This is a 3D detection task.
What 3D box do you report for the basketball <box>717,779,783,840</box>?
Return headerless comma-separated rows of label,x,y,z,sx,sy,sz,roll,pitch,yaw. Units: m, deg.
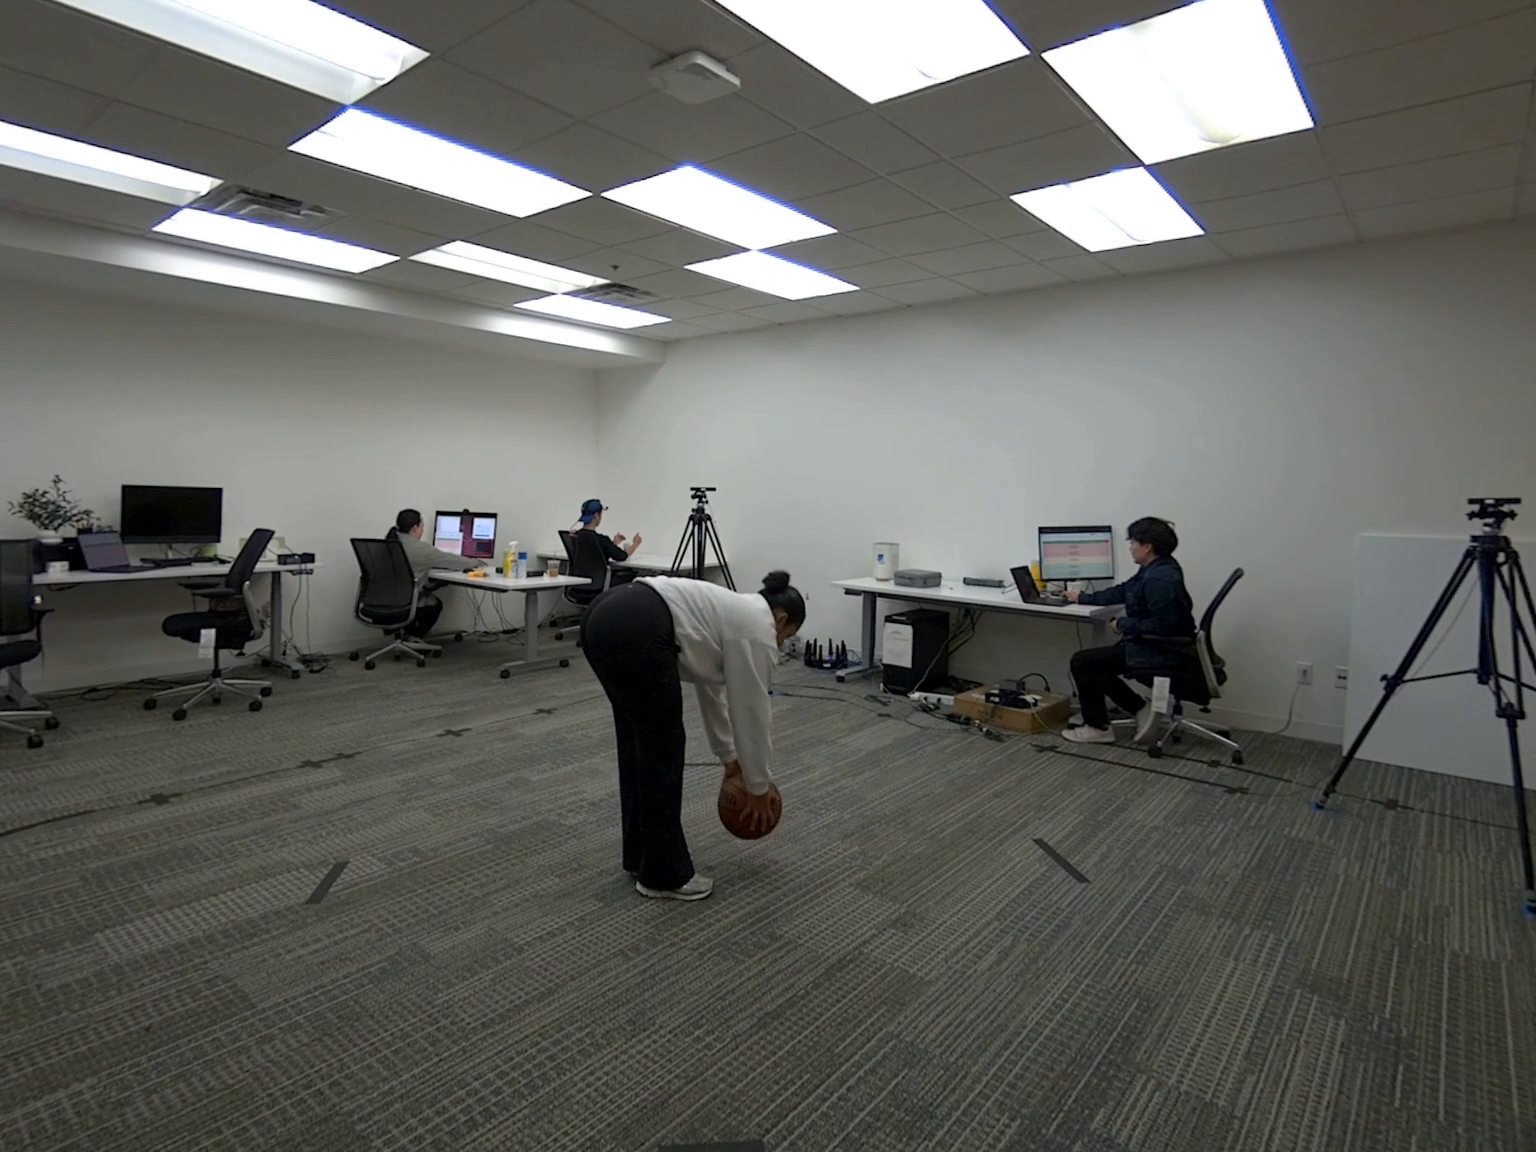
basketball,-0.079,0.824,3.124,0.235,0.235,0.237,1,4,-2
